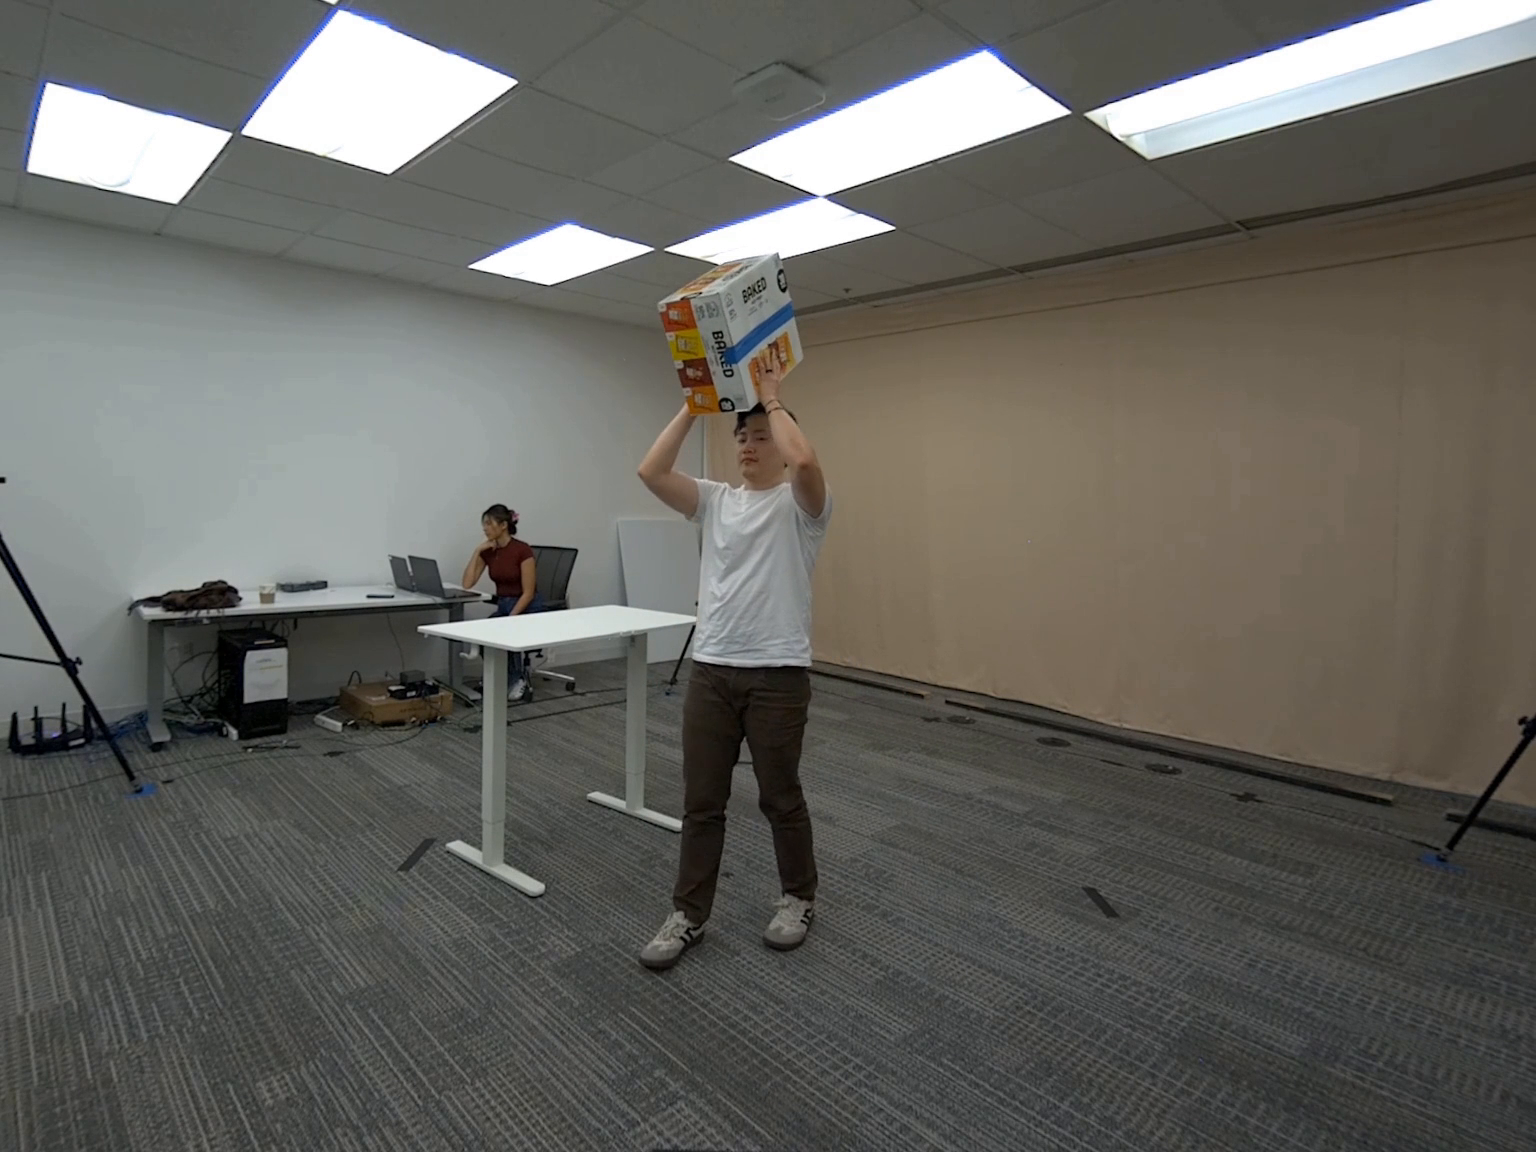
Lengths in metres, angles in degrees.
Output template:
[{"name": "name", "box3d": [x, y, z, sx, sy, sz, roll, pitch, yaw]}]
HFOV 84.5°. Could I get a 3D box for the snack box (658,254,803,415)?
[{"name": "snack box", "box3d": [-0.105, -0.723, 2.492, 0.210, 0.332, 0.406, 1, 33, 29]}]
